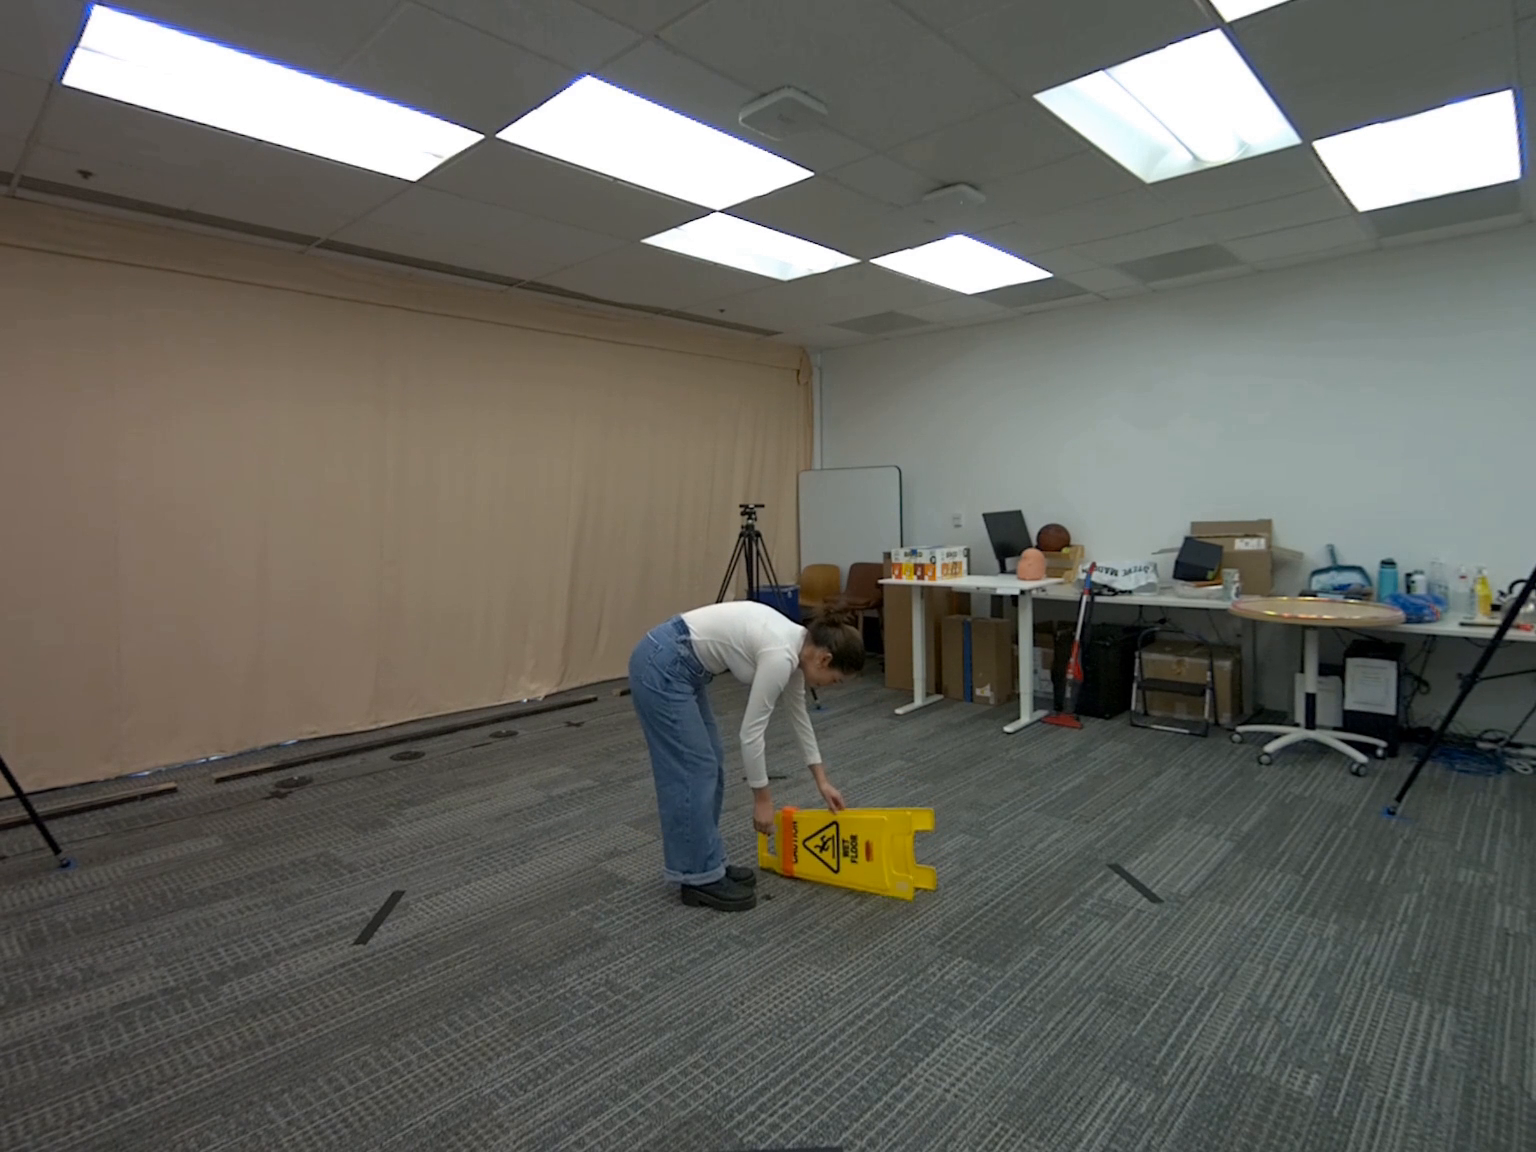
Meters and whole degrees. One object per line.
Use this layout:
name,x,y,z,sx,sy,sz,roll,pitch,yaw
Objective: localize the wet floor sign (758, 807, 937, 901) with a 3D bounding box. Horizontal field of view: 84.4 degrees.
wet floor sign,0.259,0.987,3.086,0.662,0.284,0.280,-5,-15,27
